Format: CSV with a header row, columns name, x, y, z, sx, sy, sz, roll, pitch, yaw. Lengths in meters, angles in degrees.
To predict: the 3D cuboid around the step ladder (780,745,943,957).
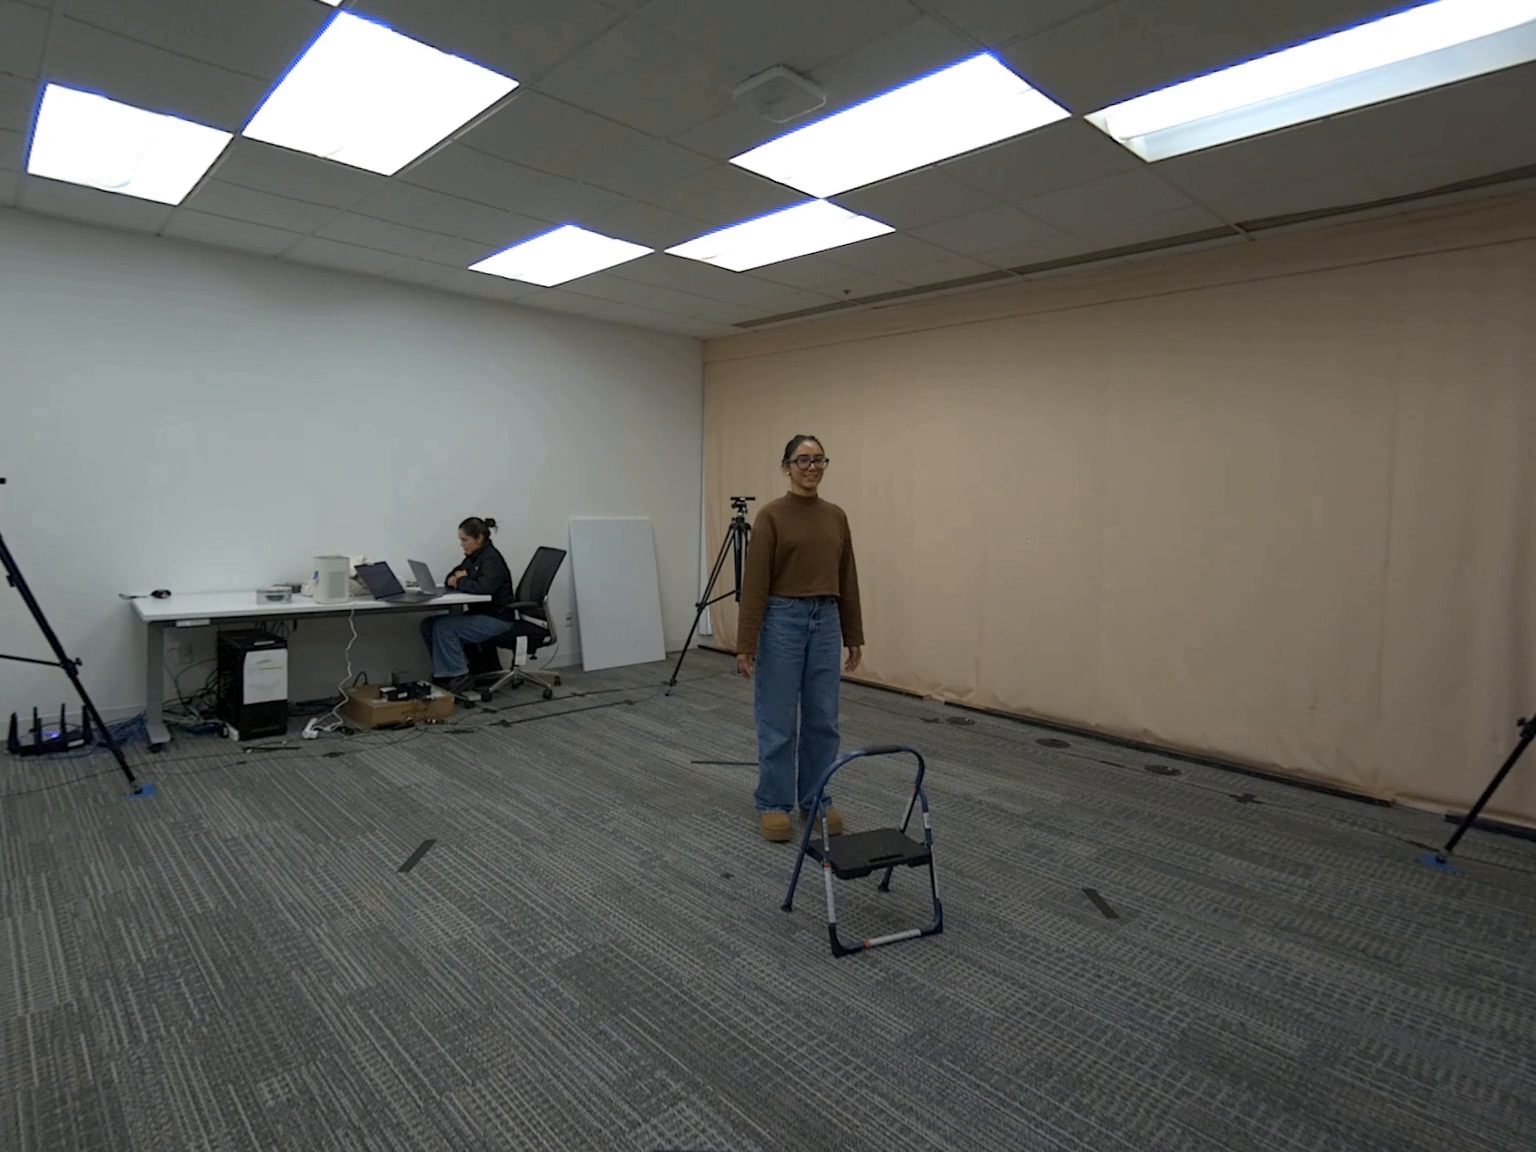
name,x,y,z,sx,sy,sz,roll,pitch,yaw
step ladder,0.312,0.845,2.781,0.423,0.604,0.357,0,4,-26
